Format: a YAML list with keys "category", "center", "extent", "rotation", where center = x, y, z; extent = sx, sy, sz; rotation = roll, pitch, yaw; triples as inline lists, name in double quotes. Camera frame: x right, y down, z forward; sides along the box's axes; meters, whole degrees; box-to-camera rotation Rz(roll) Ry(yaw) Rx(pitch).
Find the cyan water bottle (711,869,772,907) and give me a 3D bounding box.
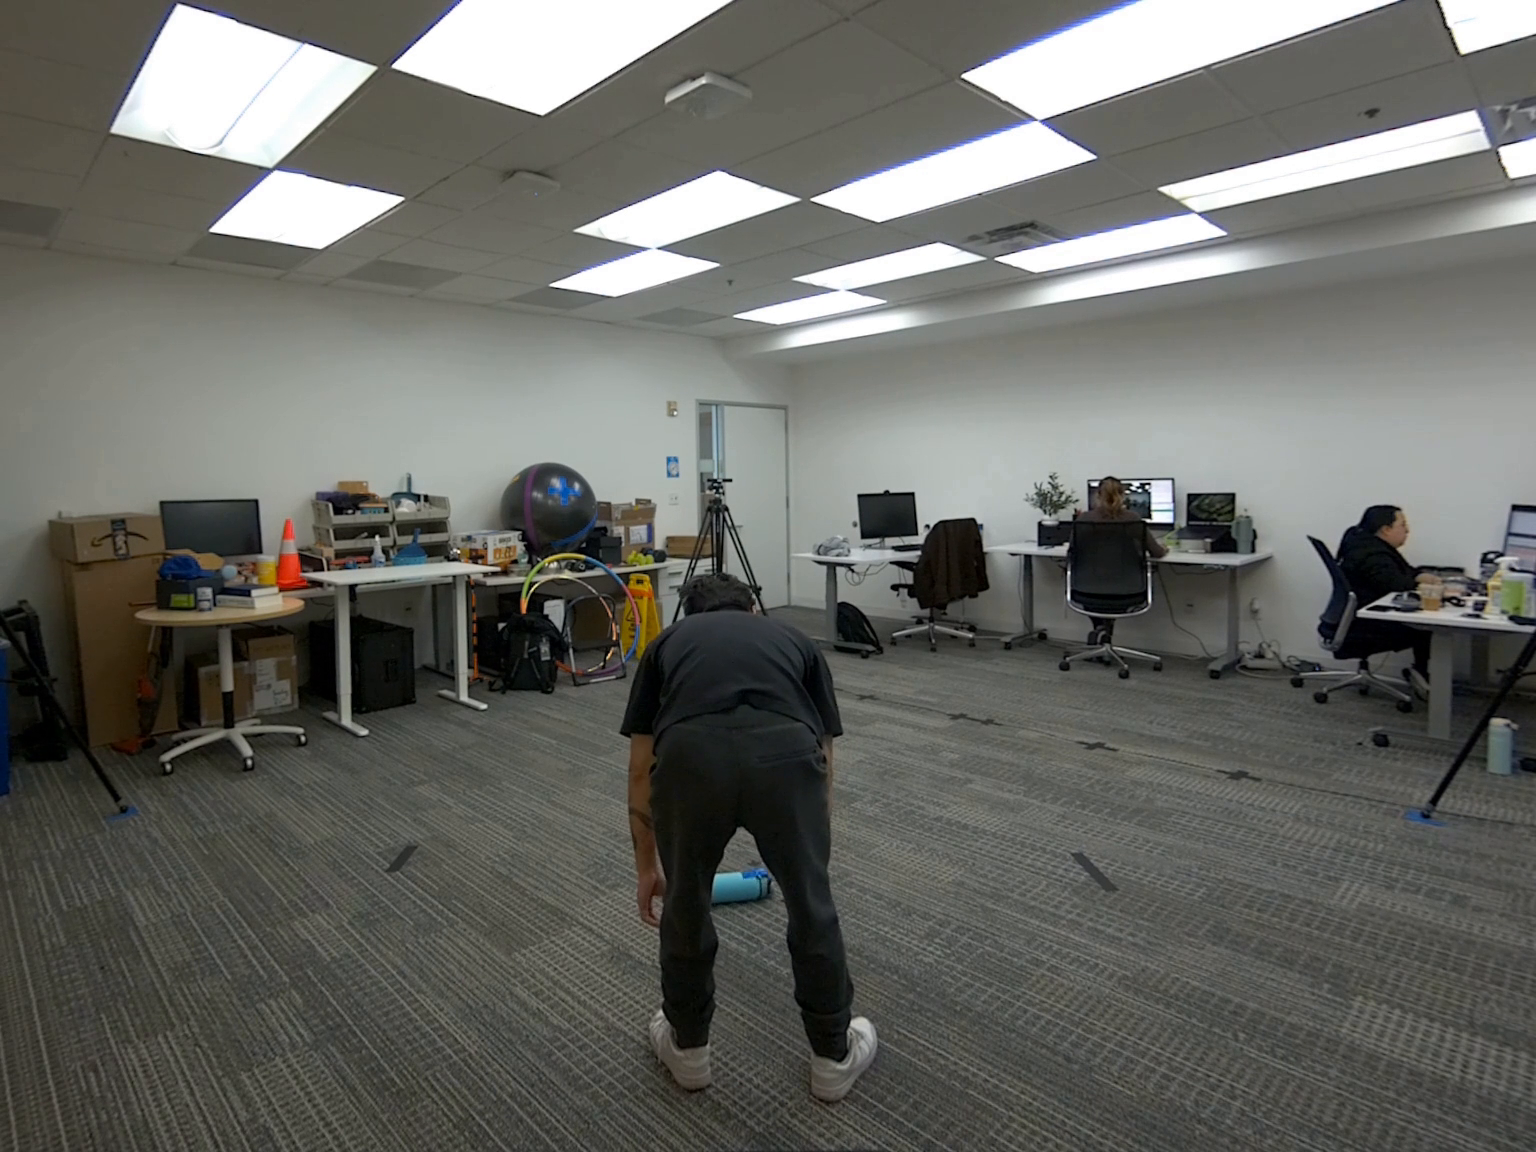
- category: "cyan water bottle"
  center: [-0.117, 1.029, 2.830]
  extent: [0.281, 0.092, 0.093]
  rotation: [-2, 5, -9]
